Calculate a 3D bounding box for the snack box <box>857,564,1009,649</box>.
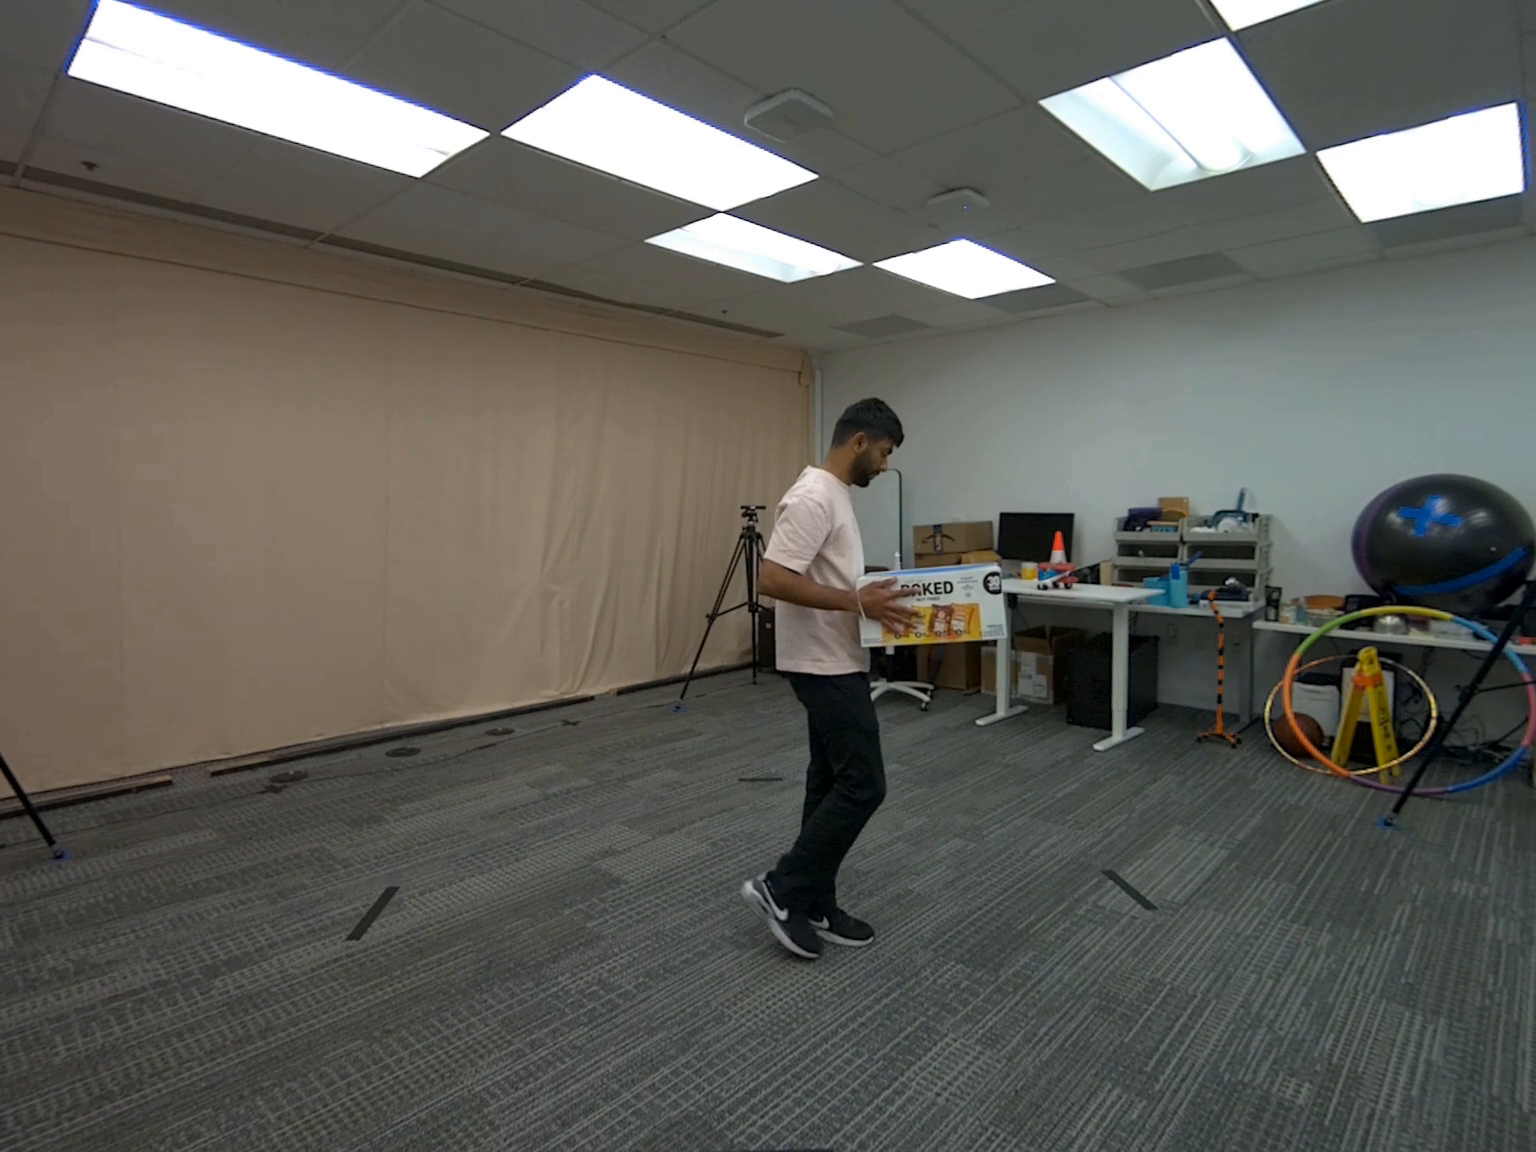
[{"bbox_3d":[0.504,0.084,2.554,0.412,0.205,0.335,-5,2,15],"label":"snack box"}]
